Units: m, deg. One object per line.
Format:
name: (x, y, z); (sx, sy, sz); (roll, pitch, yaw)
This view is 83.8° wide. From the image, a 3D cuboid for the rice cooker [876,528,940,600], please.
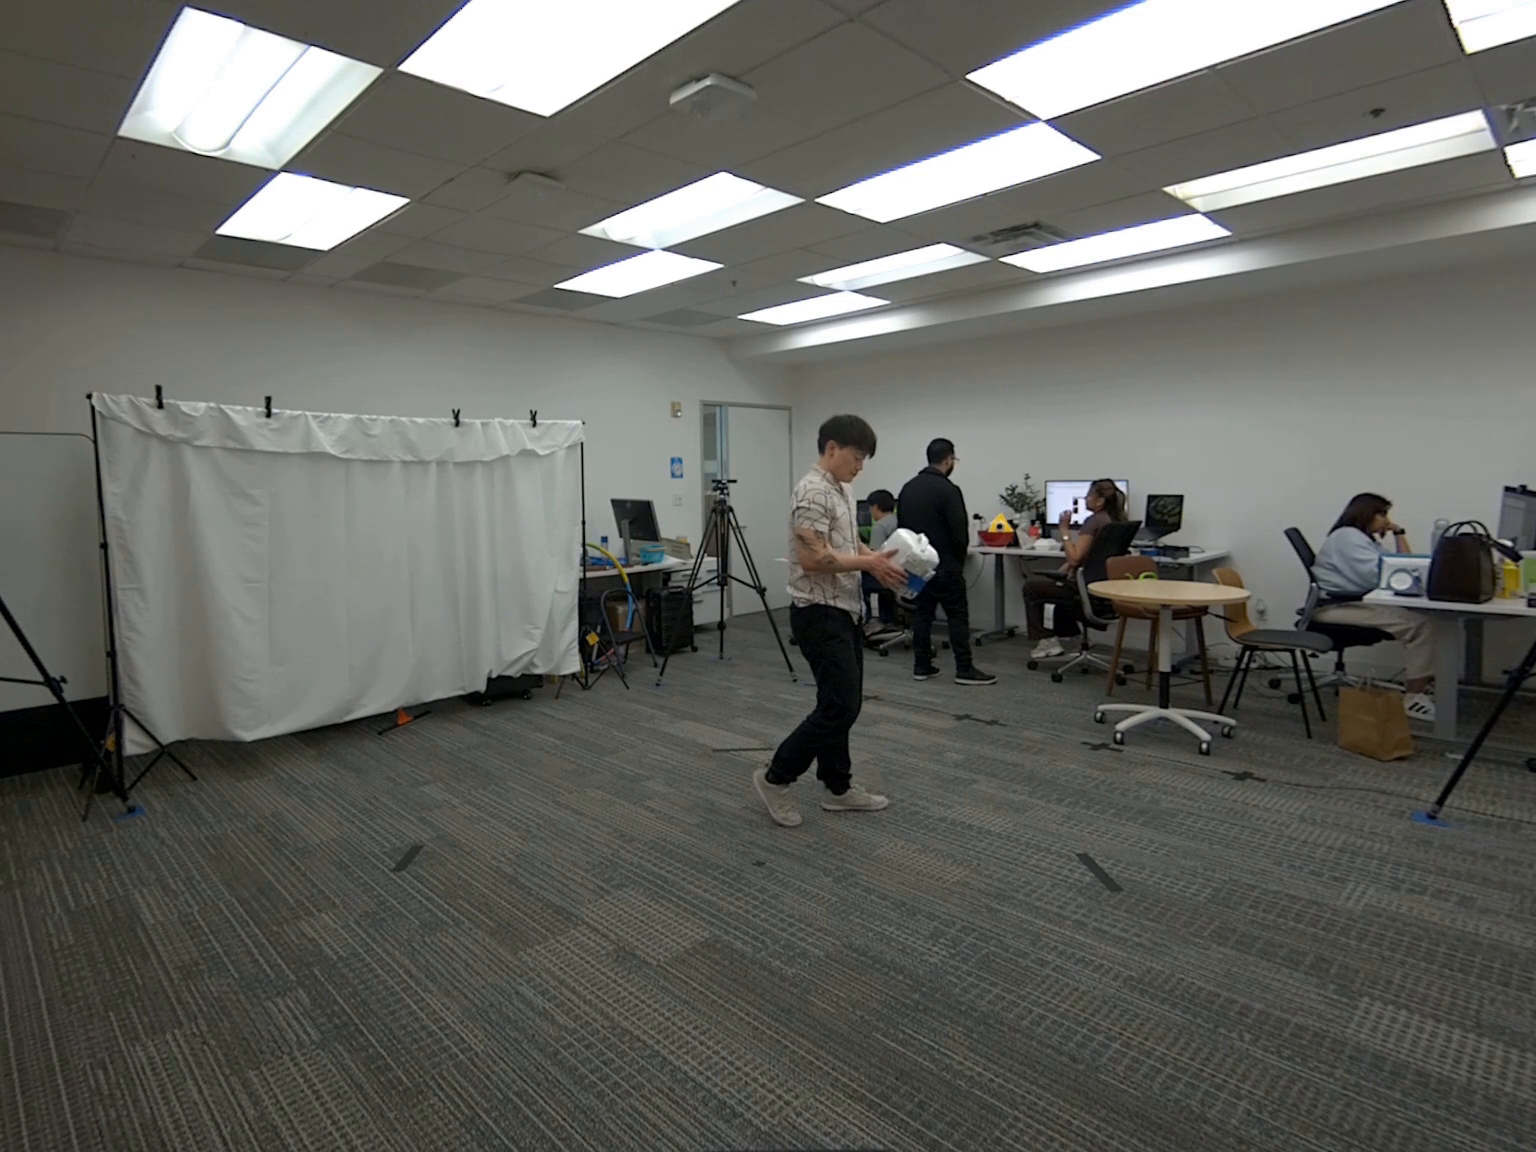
rice cooker: (0.539, -0.064, 3.371); (0.216, 0.232, 0.222); (37, 18, -6)
